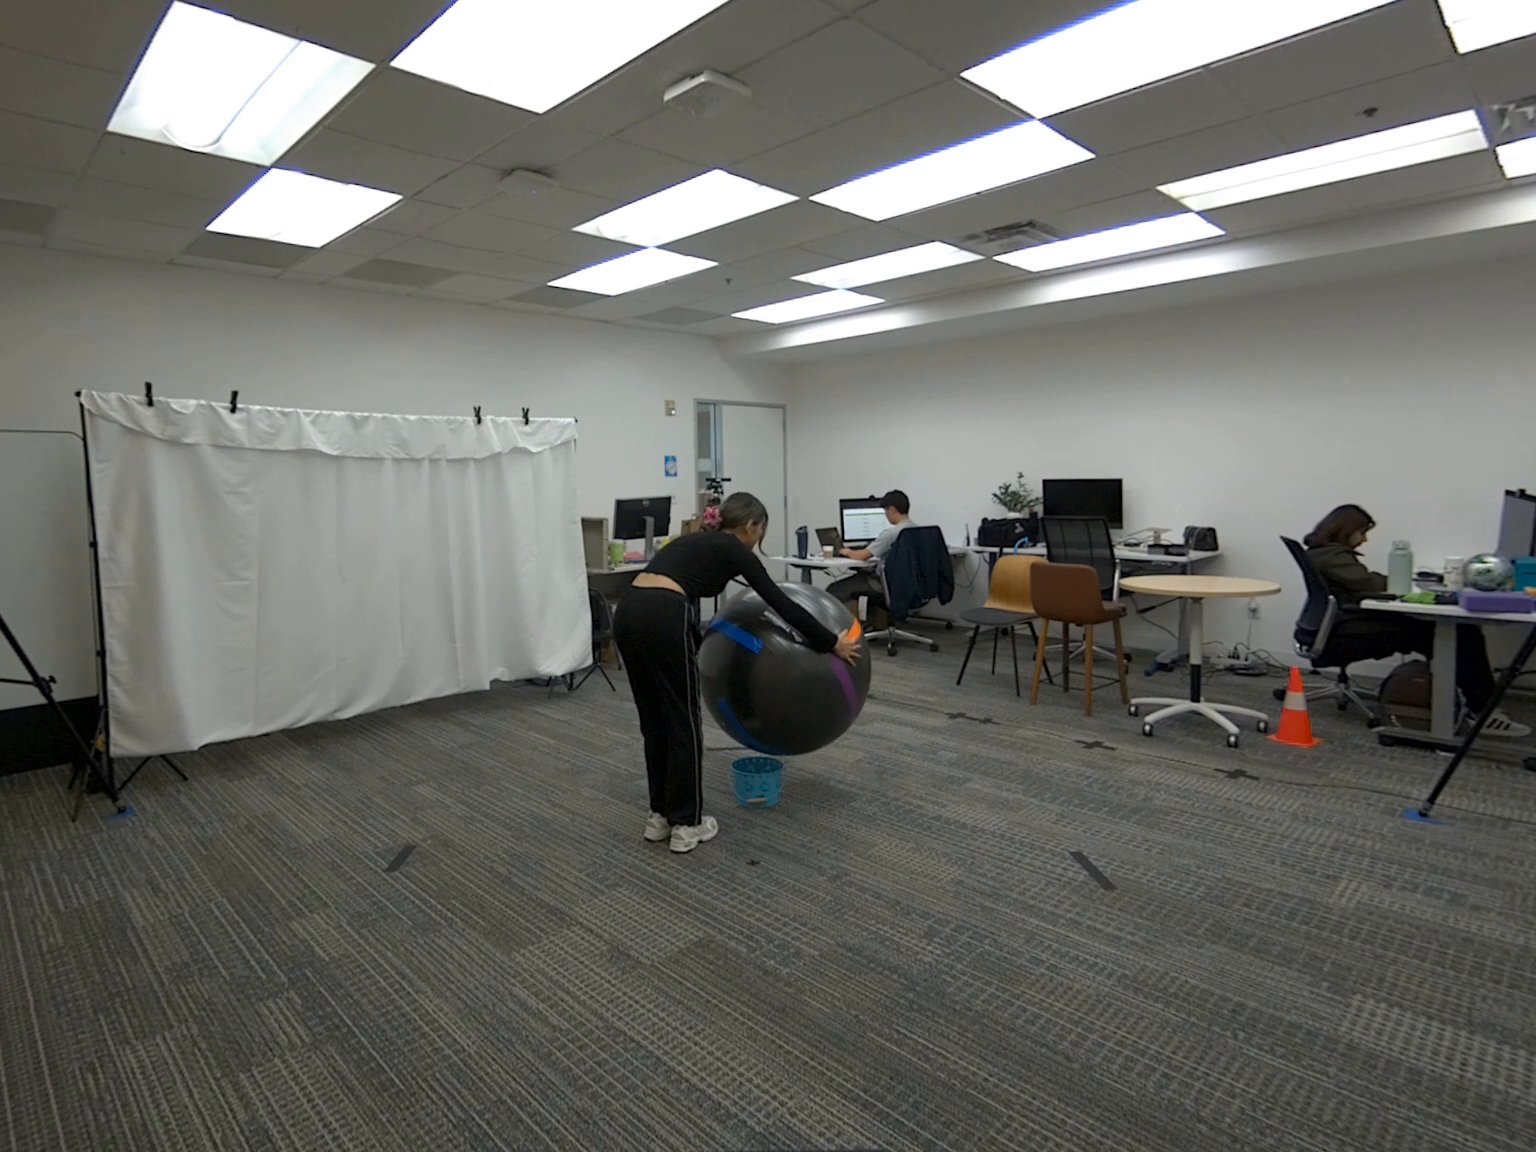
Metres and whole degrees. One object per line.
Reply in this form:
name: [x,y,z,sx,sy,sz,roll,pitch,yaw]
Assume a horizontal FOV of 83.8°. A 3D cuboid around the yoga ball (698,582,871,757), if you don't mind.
yoga ball: [0.071,0.405,3.738,0.757,0.755,0.762,-1,5,-2]
